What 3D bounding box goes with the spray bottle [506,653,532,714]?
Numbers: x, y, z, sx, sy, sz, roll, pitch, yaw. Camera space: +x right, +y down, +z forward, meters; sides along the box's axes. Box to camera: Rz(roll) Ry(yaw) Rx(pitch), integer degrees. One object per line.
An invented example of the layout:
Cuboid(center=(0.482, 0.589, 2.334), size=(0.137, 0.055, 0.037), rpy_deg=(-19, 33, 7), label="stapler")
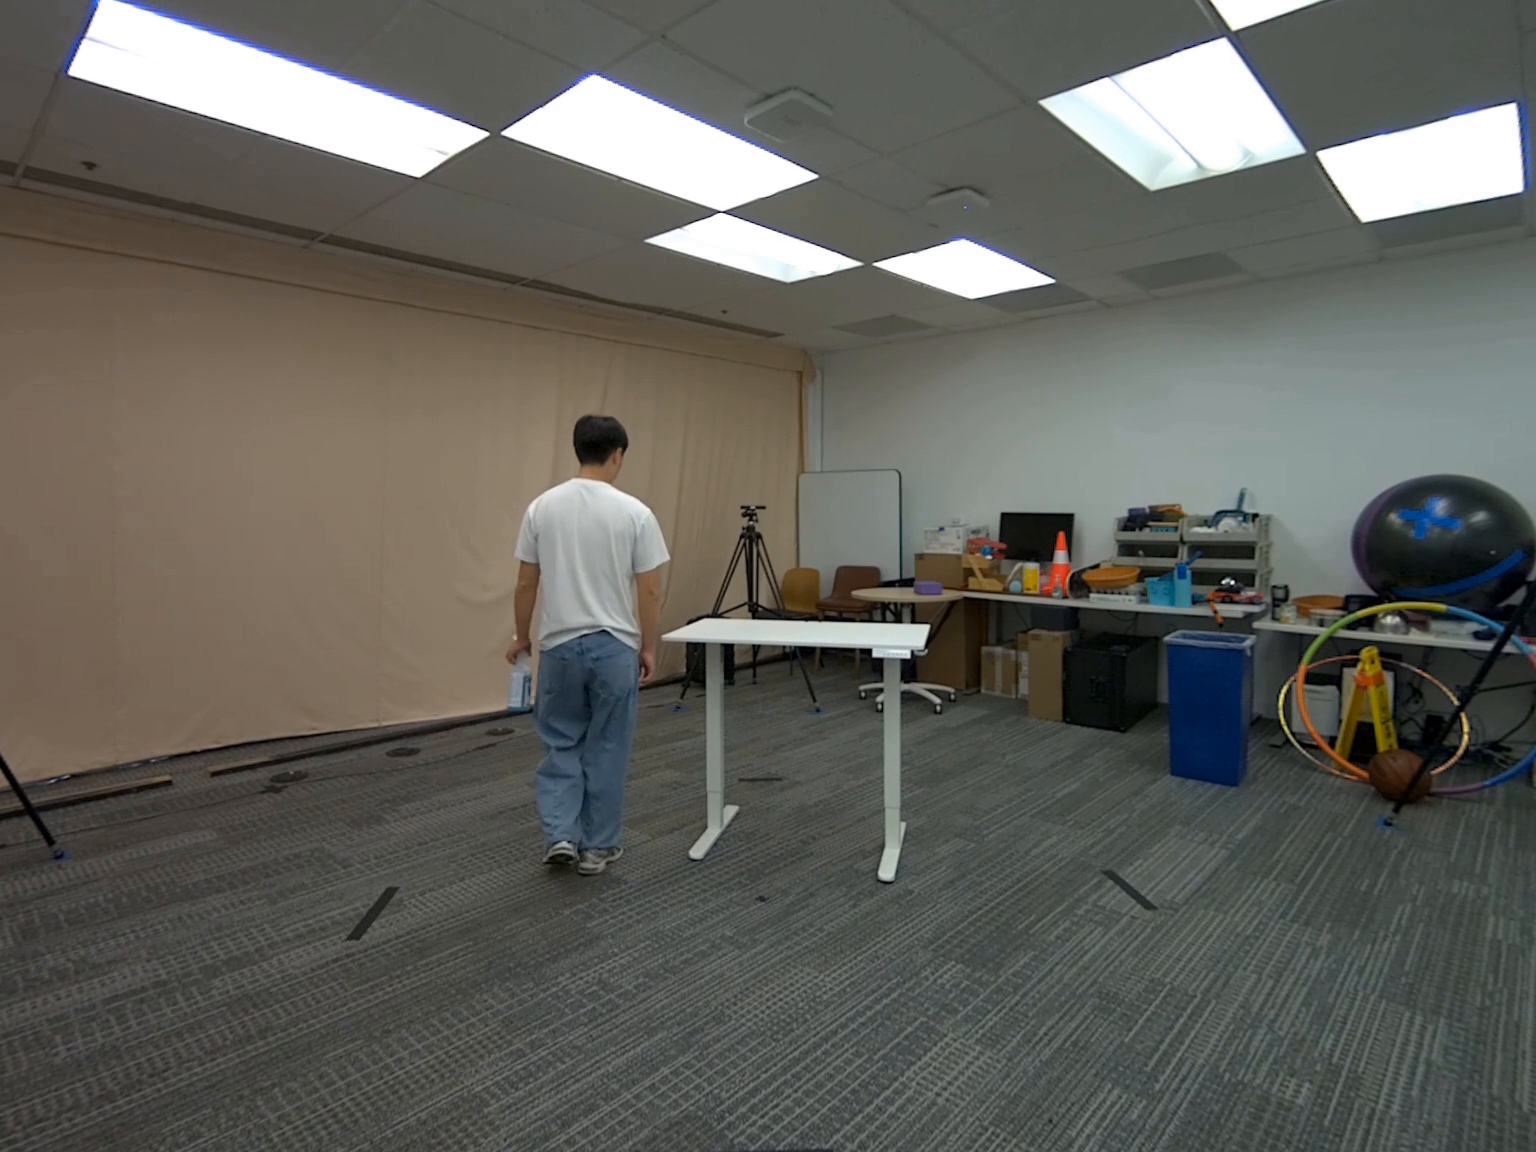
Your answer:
Cuboid(center=(-0.979, 0.387, 3.342), size=(0.084, 0.299, 0.092), rpy_deg=(7, -10, -36), label="spray bottle")
